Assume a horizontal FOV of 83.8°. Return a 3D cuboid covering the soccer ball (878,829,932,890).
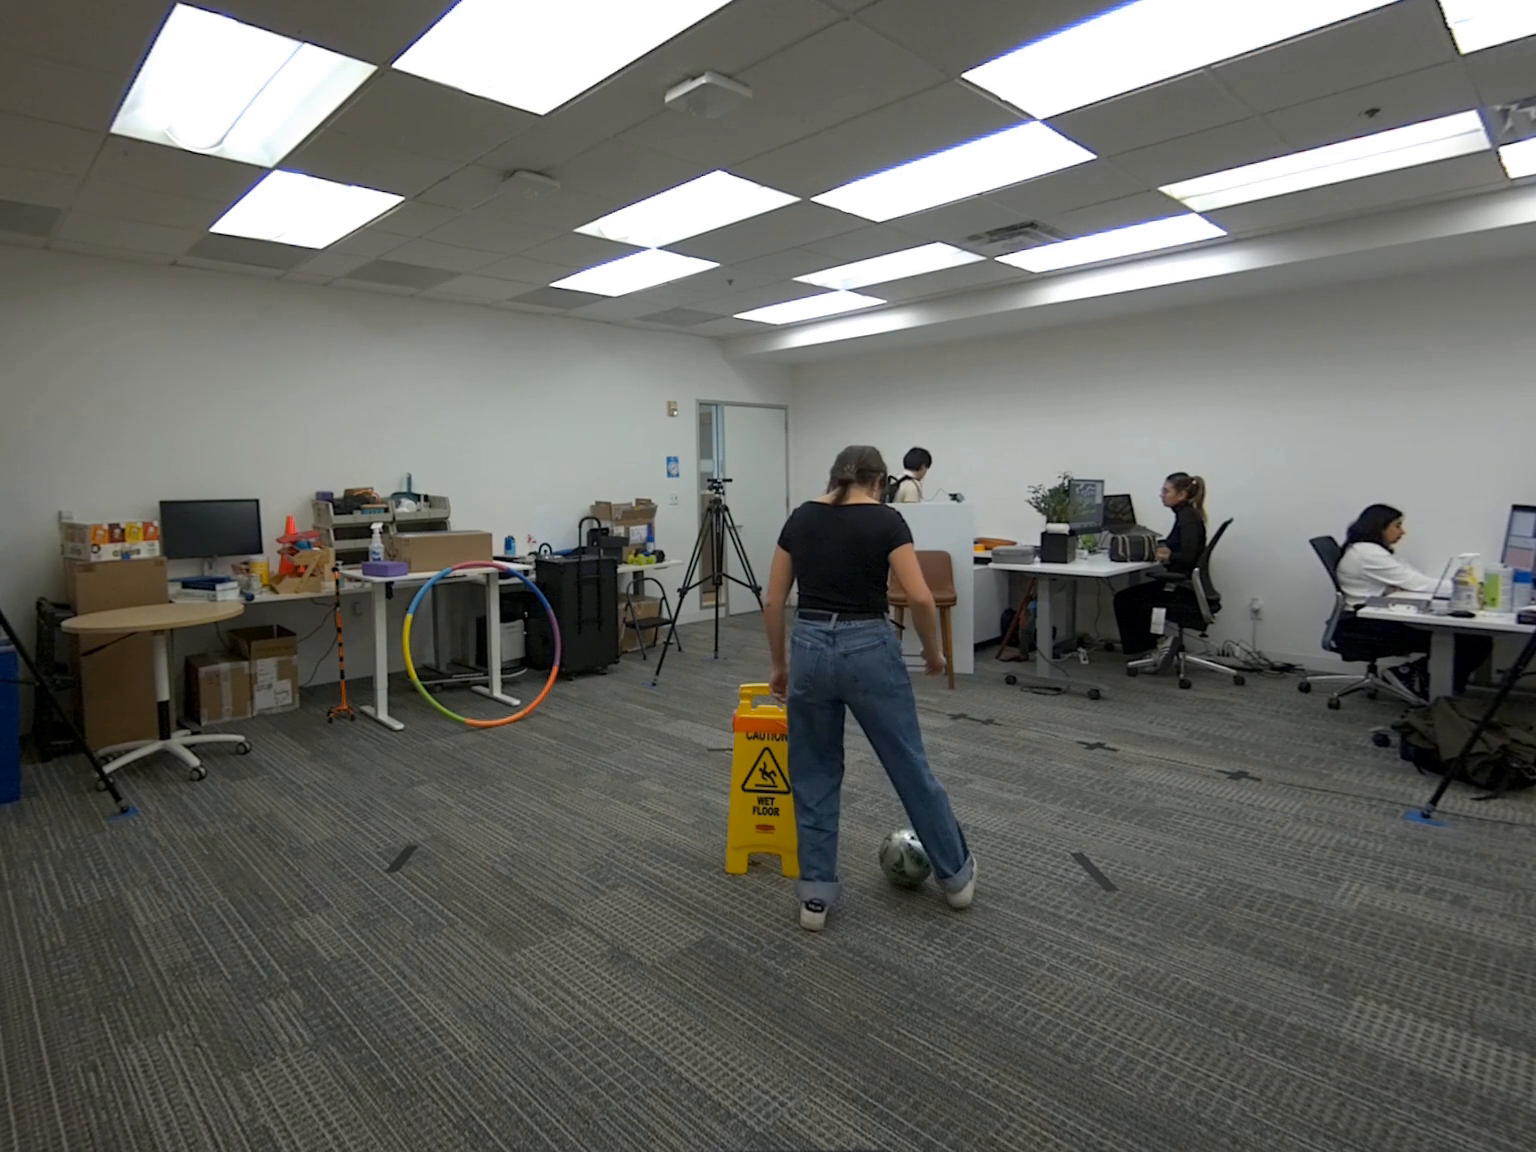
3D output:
[{"bbox_3d":[0.466,0.966,2.932,0.187,0.187,0.188,-1,5,-2],"label":"soccer ball"}]
